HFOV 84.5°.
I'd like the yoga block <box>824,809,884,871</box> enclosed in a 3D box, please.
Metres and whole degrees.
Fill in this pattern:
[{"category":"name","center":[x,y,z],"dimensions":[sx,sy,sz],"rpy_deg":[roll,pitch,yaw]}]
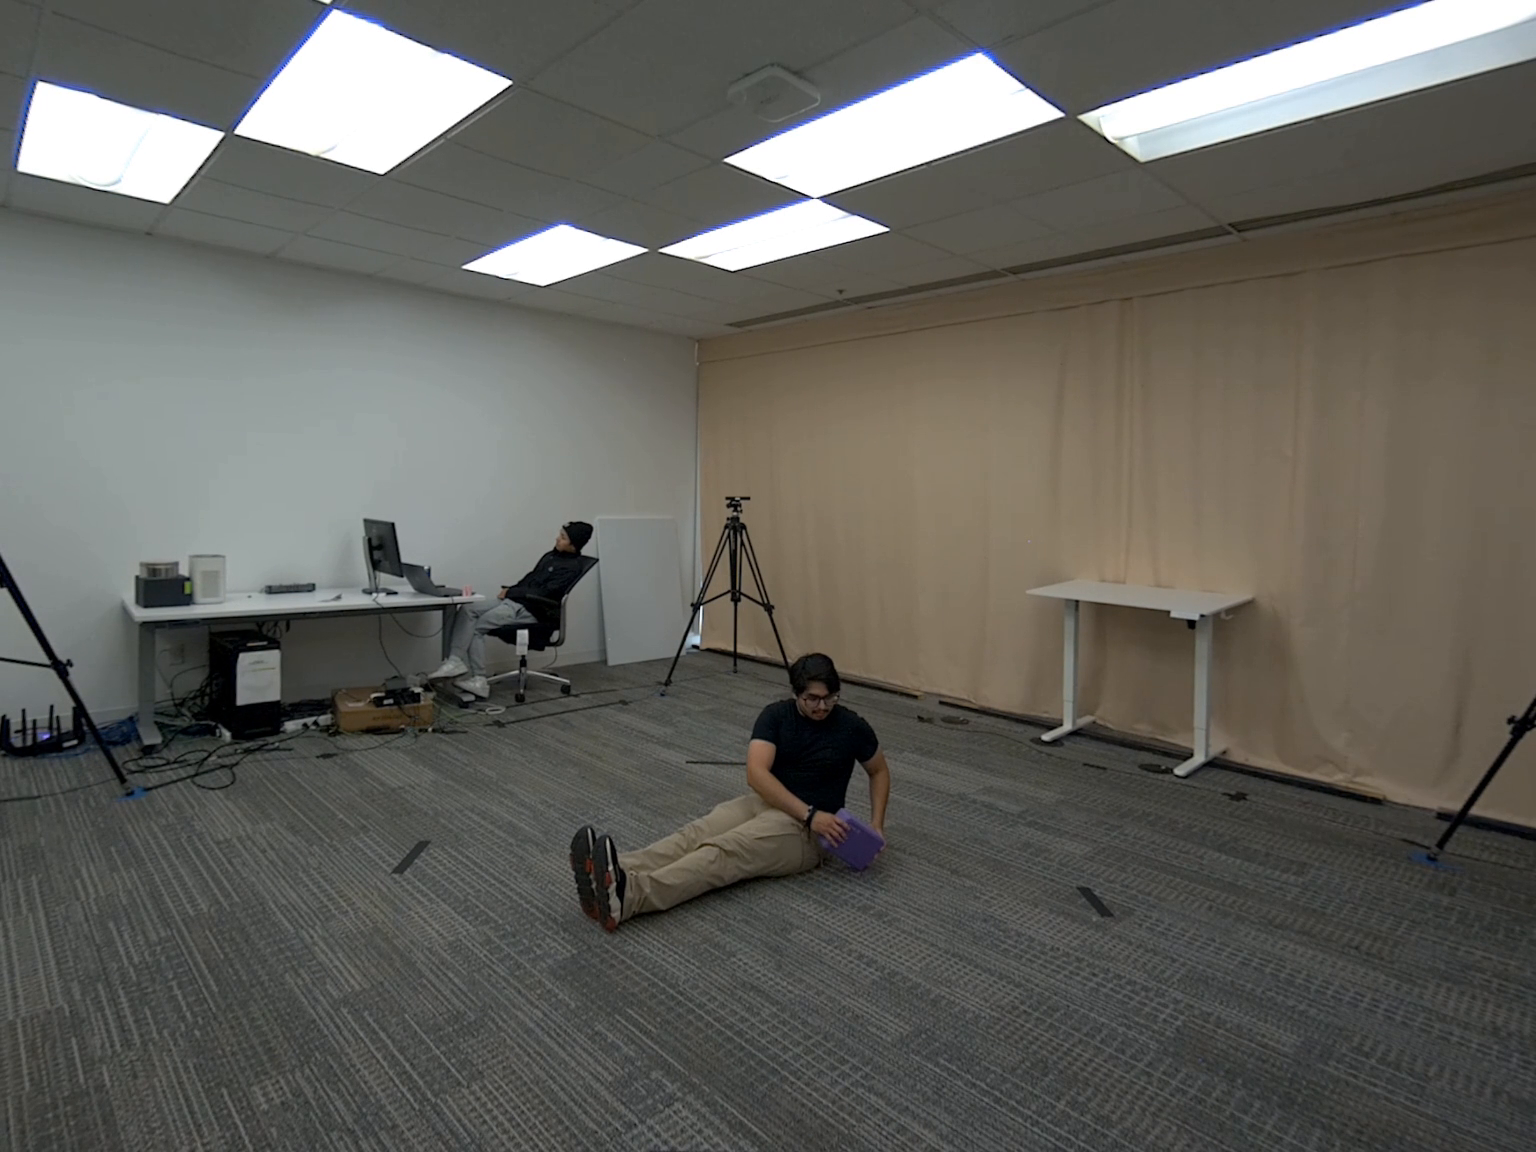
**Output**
[{"category":"yoga block","center":[0.297,0.988,3.141],"dimensions":[0.224,0.149,0.078],"rpy_deg":[37,4,-21]}]
